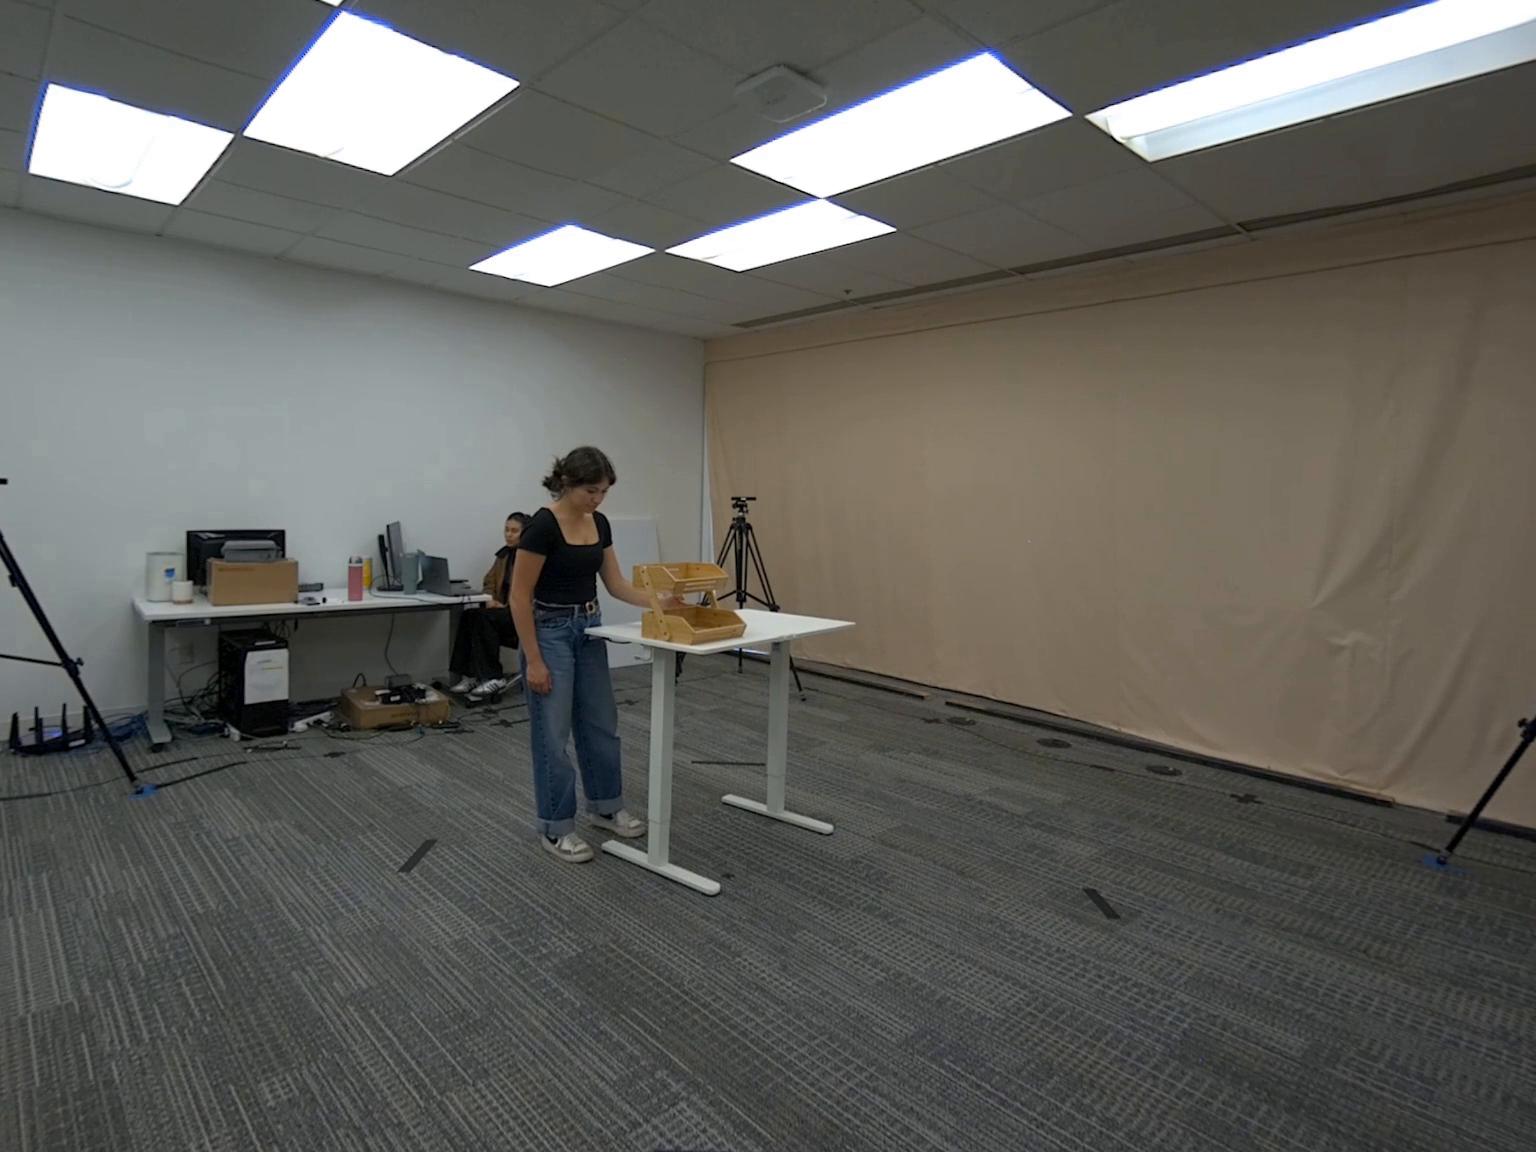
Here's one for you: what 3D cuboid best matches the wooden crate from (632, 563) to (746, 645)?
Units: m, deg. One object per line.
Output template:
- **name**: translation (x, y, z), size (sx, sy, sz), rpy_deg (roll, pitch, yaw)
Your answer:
- **wooden crate**: translation (-0.288, 0.087, 3.077), size (0.309, 0.273, 0.317), rpy_deg (3, 4, 37)
